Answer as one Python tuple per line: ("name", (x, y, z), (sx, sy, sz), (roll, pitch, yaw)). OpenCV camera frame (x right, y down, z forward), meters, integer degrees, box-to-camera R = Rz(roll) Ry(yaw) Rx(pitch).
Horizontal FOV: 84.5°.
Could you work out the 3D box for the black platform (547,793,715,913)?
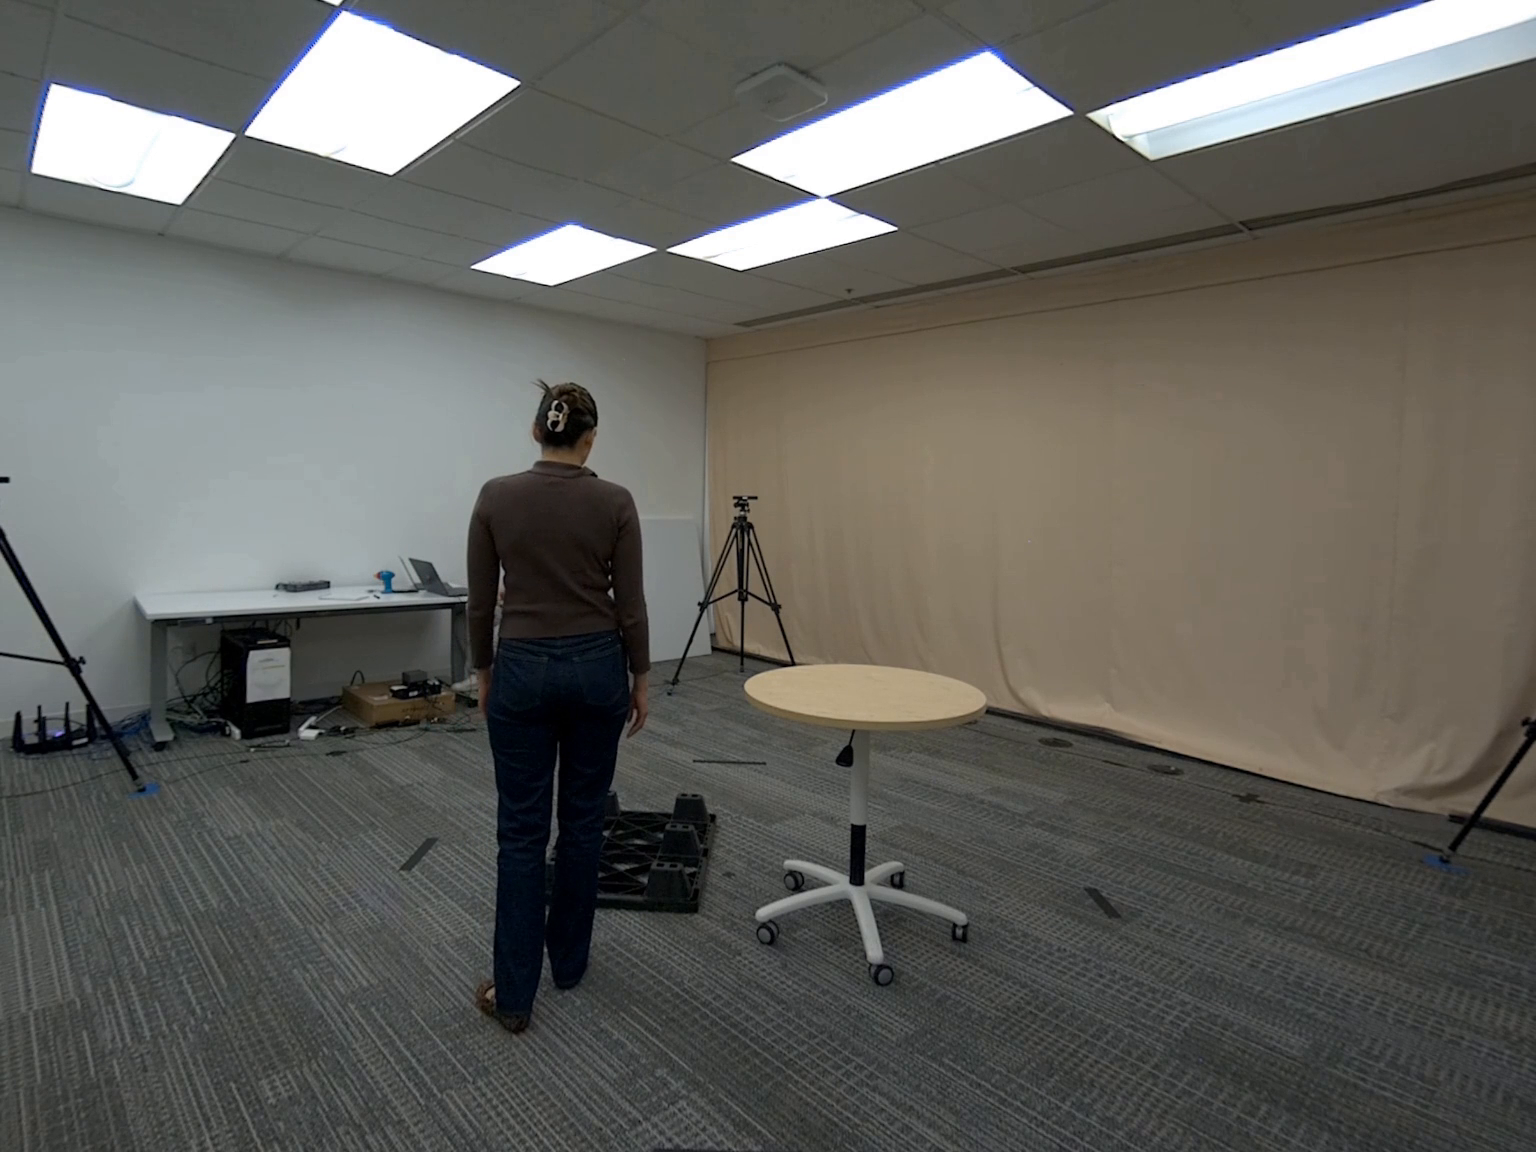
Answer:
("black platform", (-0.531, 1.017, 3.222), (0.606, 0.143, 0.806), (2, 5, 1))
